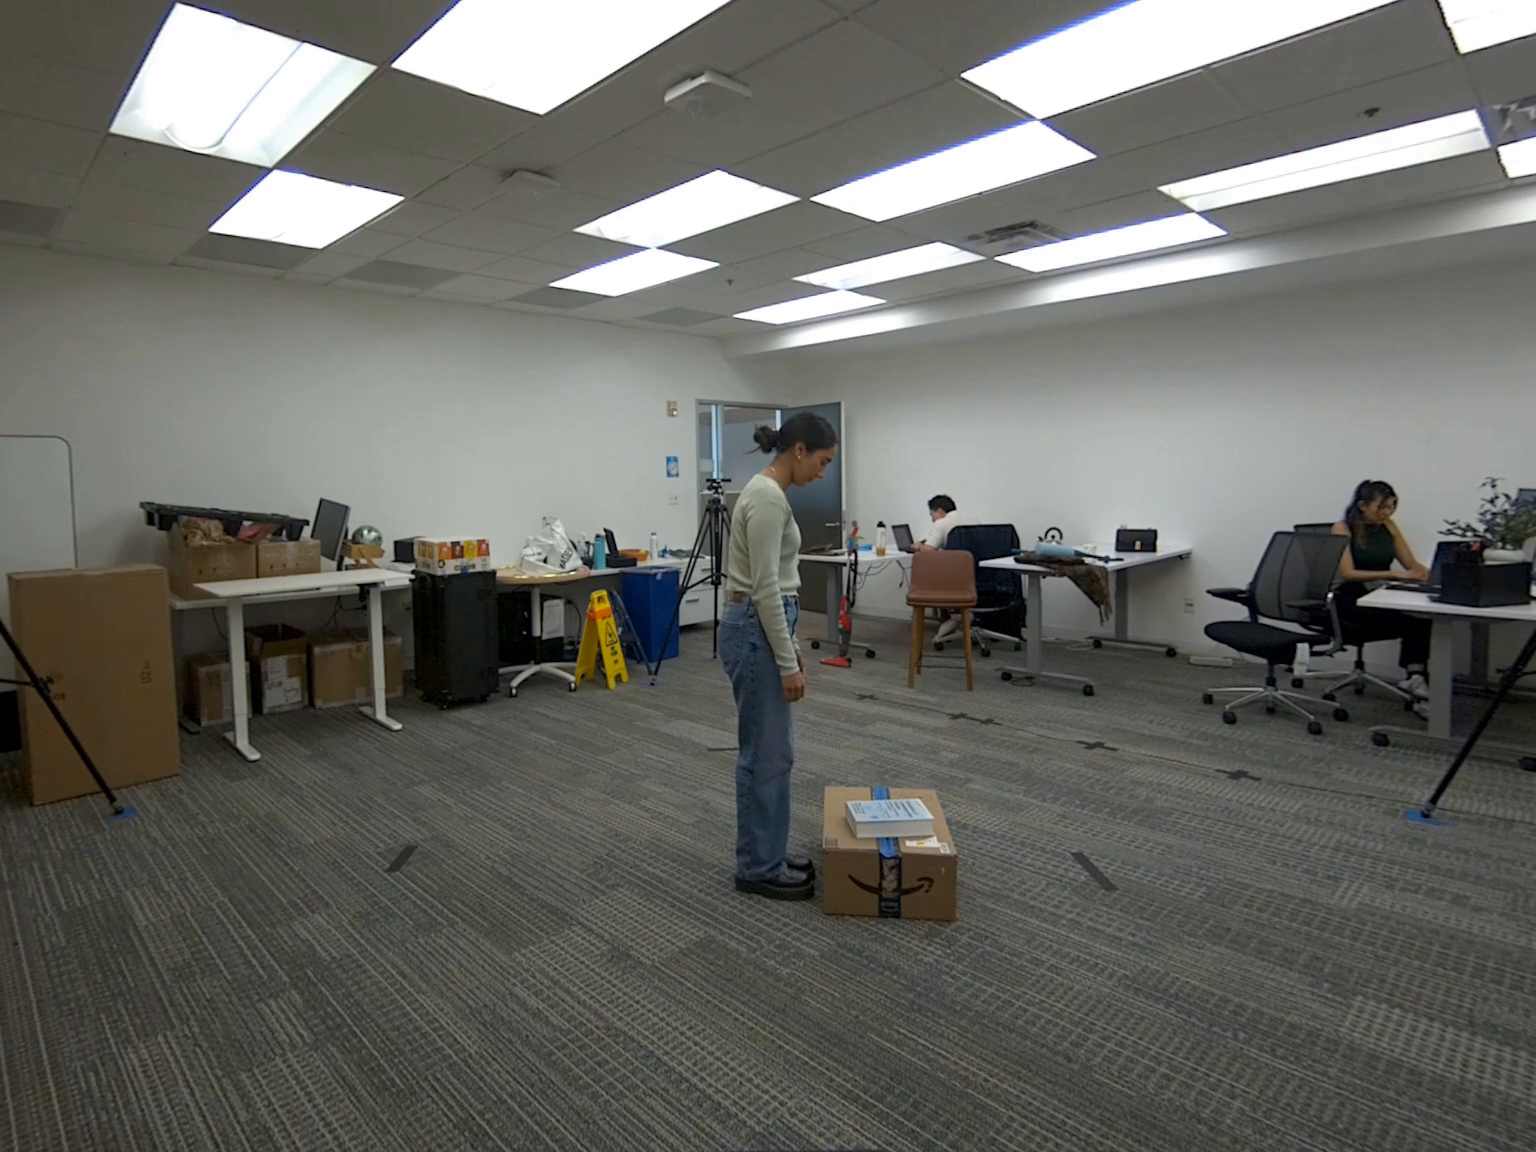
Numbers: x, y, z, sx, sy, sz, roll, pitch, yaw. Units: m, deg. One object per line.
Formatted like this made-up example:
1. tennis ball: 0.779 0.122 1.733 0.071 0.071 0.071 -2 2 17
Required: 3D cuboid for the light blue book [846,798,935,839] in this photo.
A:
1. light blue book: 0.407 0.812 2.899 0.260 0.059 0.193 -2 6 -3
